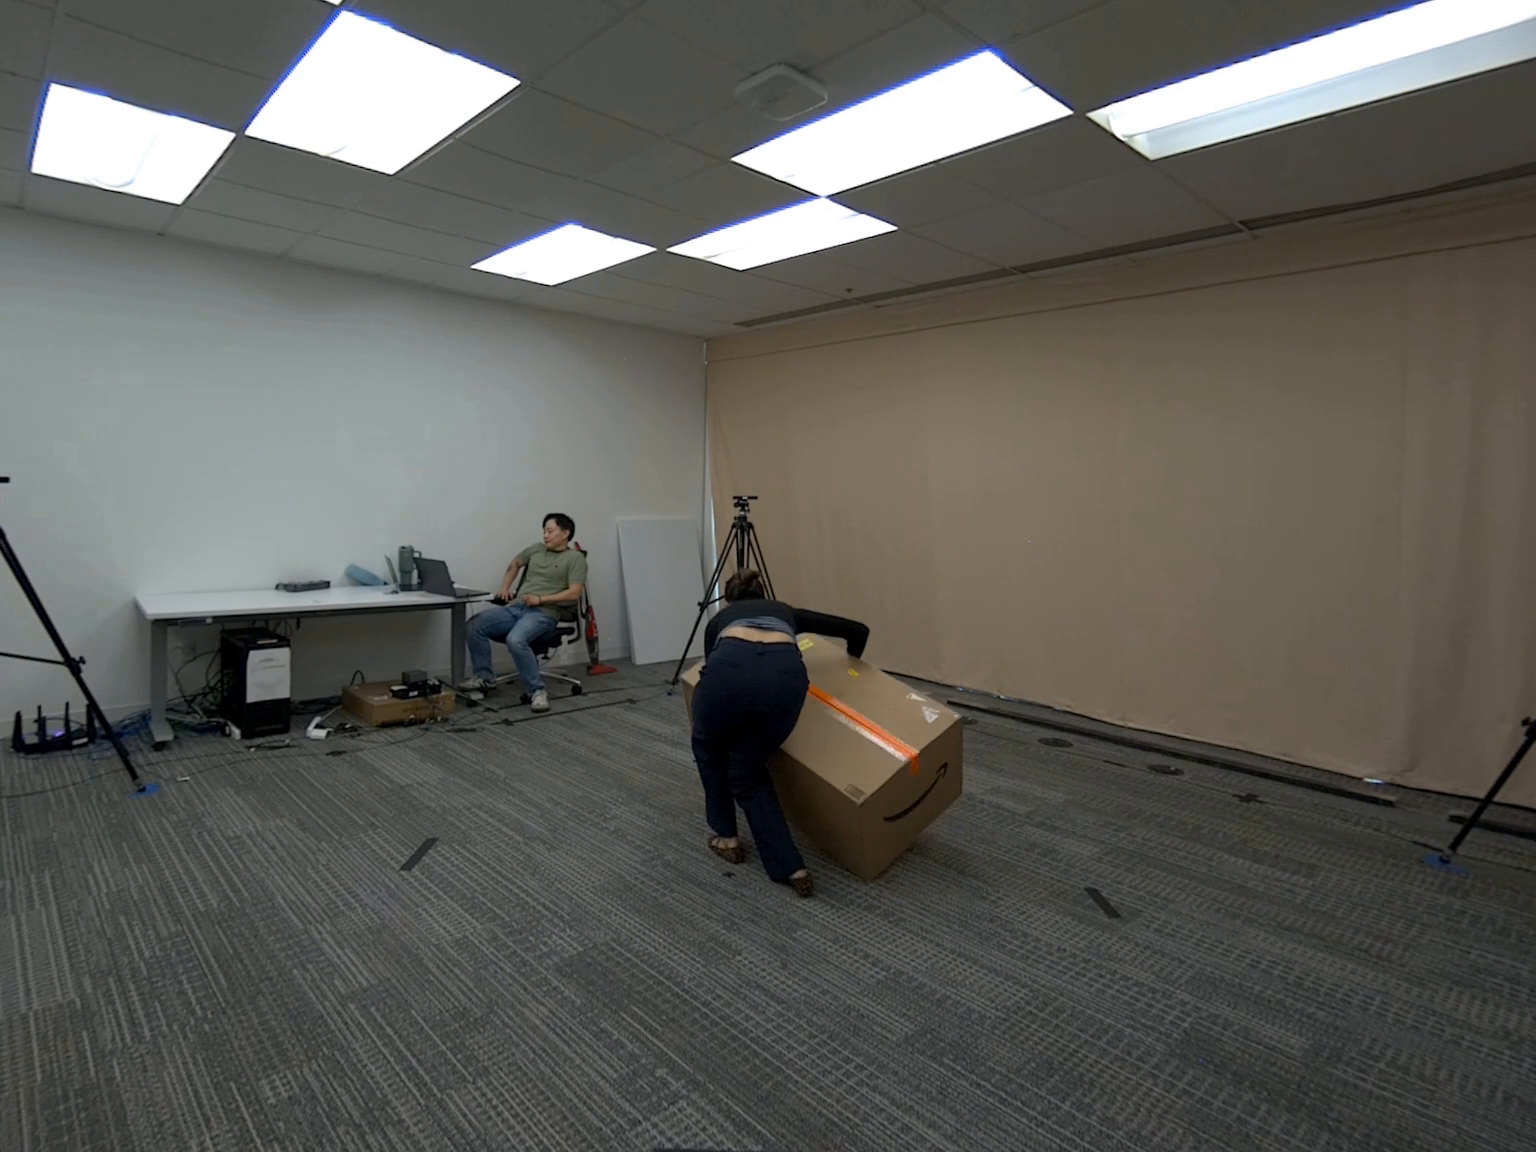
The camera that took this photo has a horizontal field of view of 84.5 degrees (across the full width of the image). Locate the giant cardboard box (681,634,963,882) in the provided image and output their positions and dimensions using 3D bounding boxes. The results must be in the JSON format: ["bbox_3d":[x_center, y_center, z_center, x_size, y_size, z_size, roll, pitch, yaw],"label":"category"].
[{"bbox_3d":[0.187,0.640,3.453,0.572,0.417,1.058,-30,37,-31],"label":"giant cardboard box"}]
